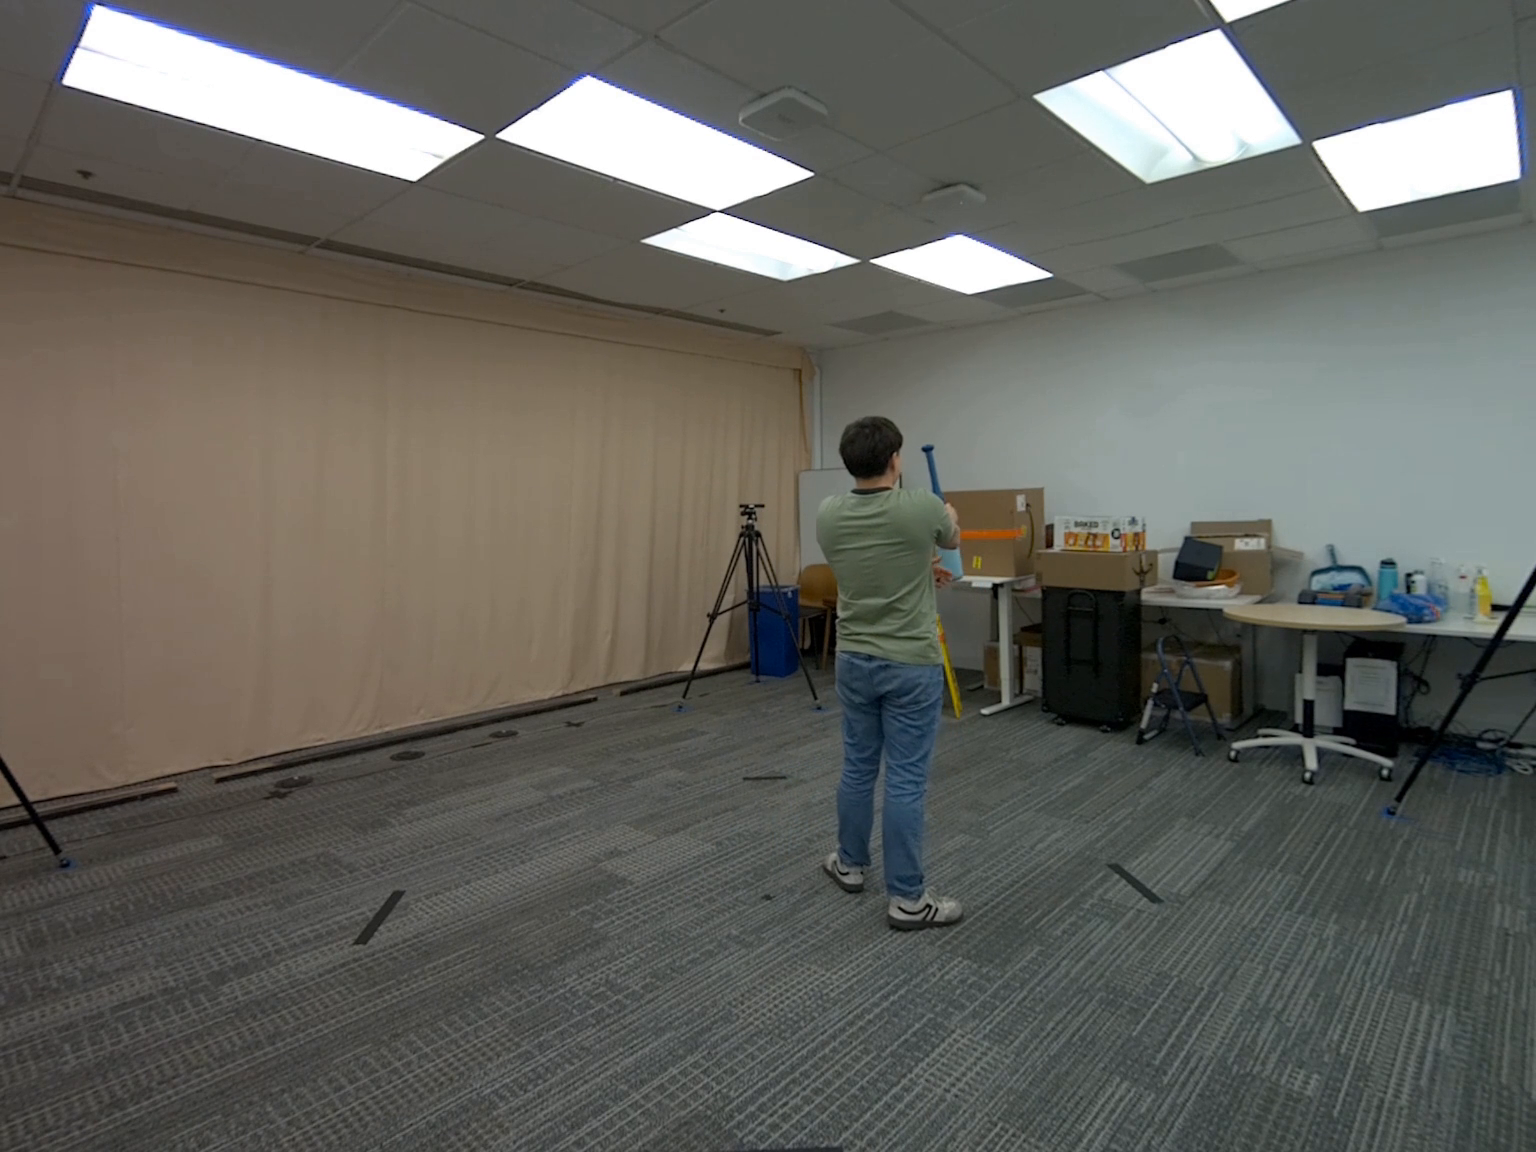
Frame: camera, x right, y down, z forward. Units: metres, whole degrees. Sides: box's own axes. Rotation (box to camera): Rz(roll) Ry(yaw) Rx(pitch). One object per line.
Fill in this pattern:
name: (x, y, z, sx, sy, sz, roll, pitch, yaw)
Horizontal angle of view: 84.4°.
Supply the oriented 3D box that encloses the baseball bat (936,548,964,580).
baseball bat: (0.685, -0.251, 3.291, 0.089, 0.545, 0.089, -9, -4, -2)
